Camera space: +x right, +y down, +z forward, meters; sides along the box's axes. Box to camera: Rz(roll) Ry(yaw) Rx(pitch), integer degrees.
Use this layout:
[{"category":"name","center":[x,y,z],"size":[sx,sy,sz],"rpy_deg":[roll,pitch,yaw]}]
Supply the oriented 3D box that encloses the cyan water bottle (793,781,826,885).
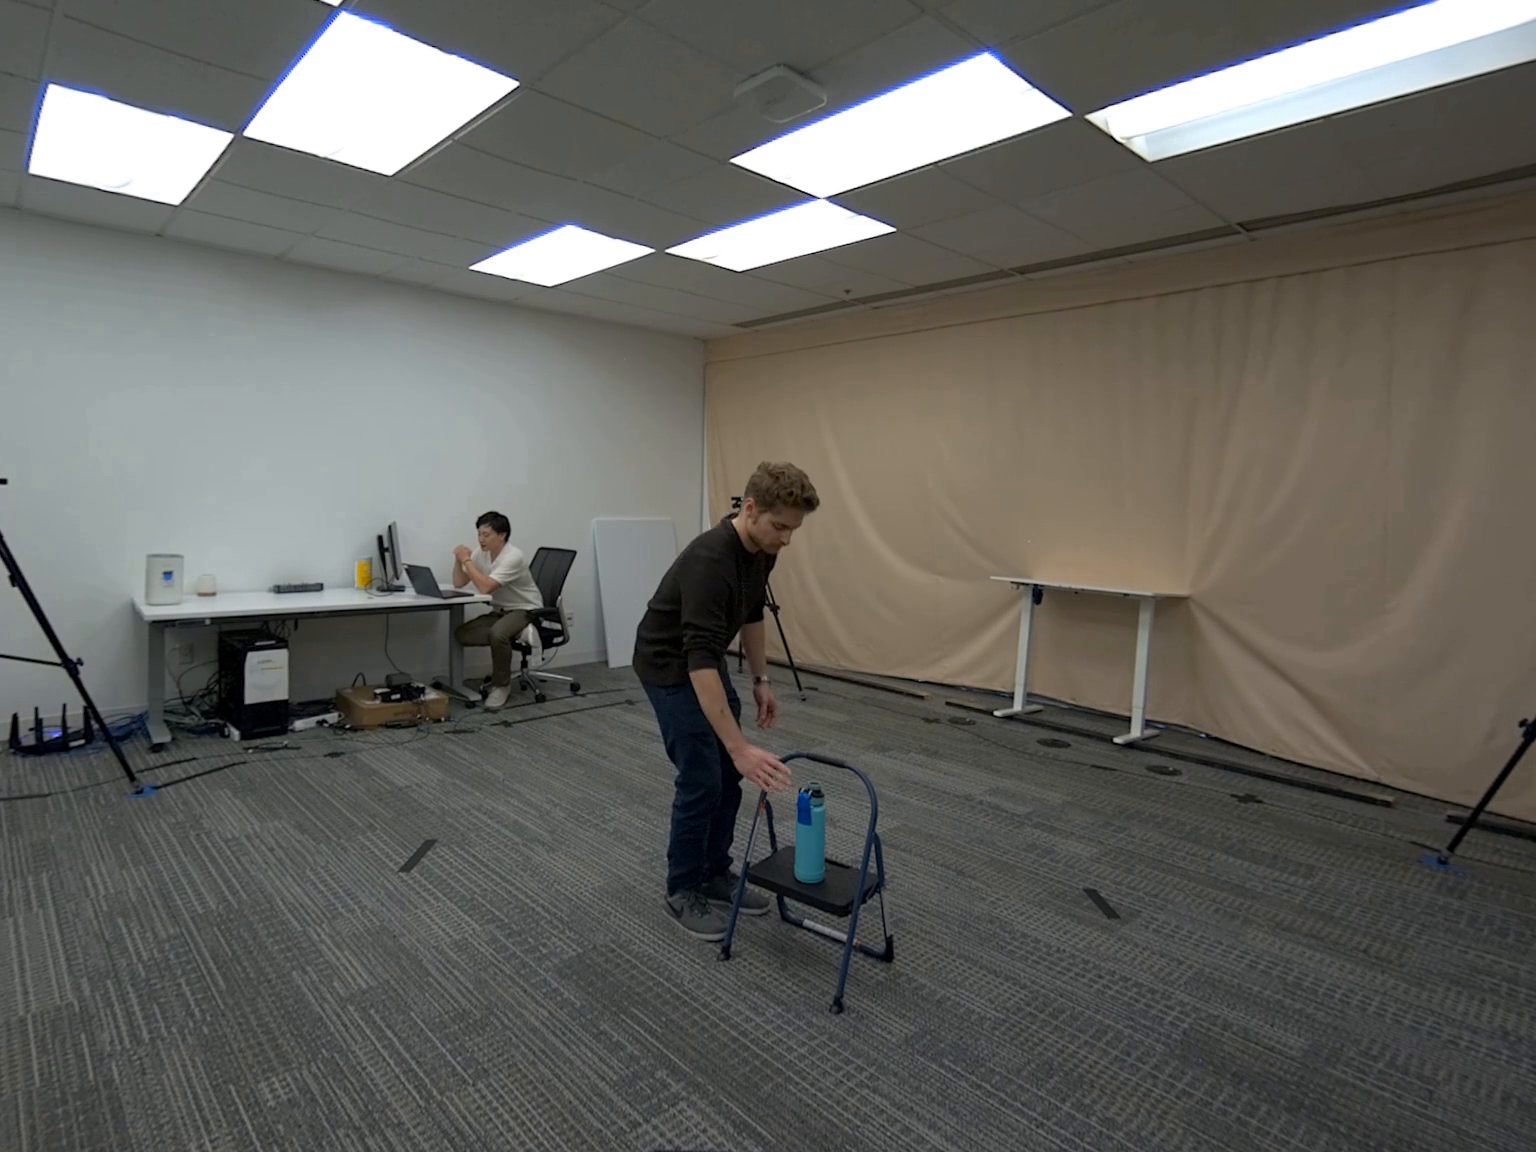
[{"category":"cyan water bottle","center":[0.121,0.766,2.511],"size":[0.092,0.282,0.093],"rpy_deg":[0,5,-1]}]
